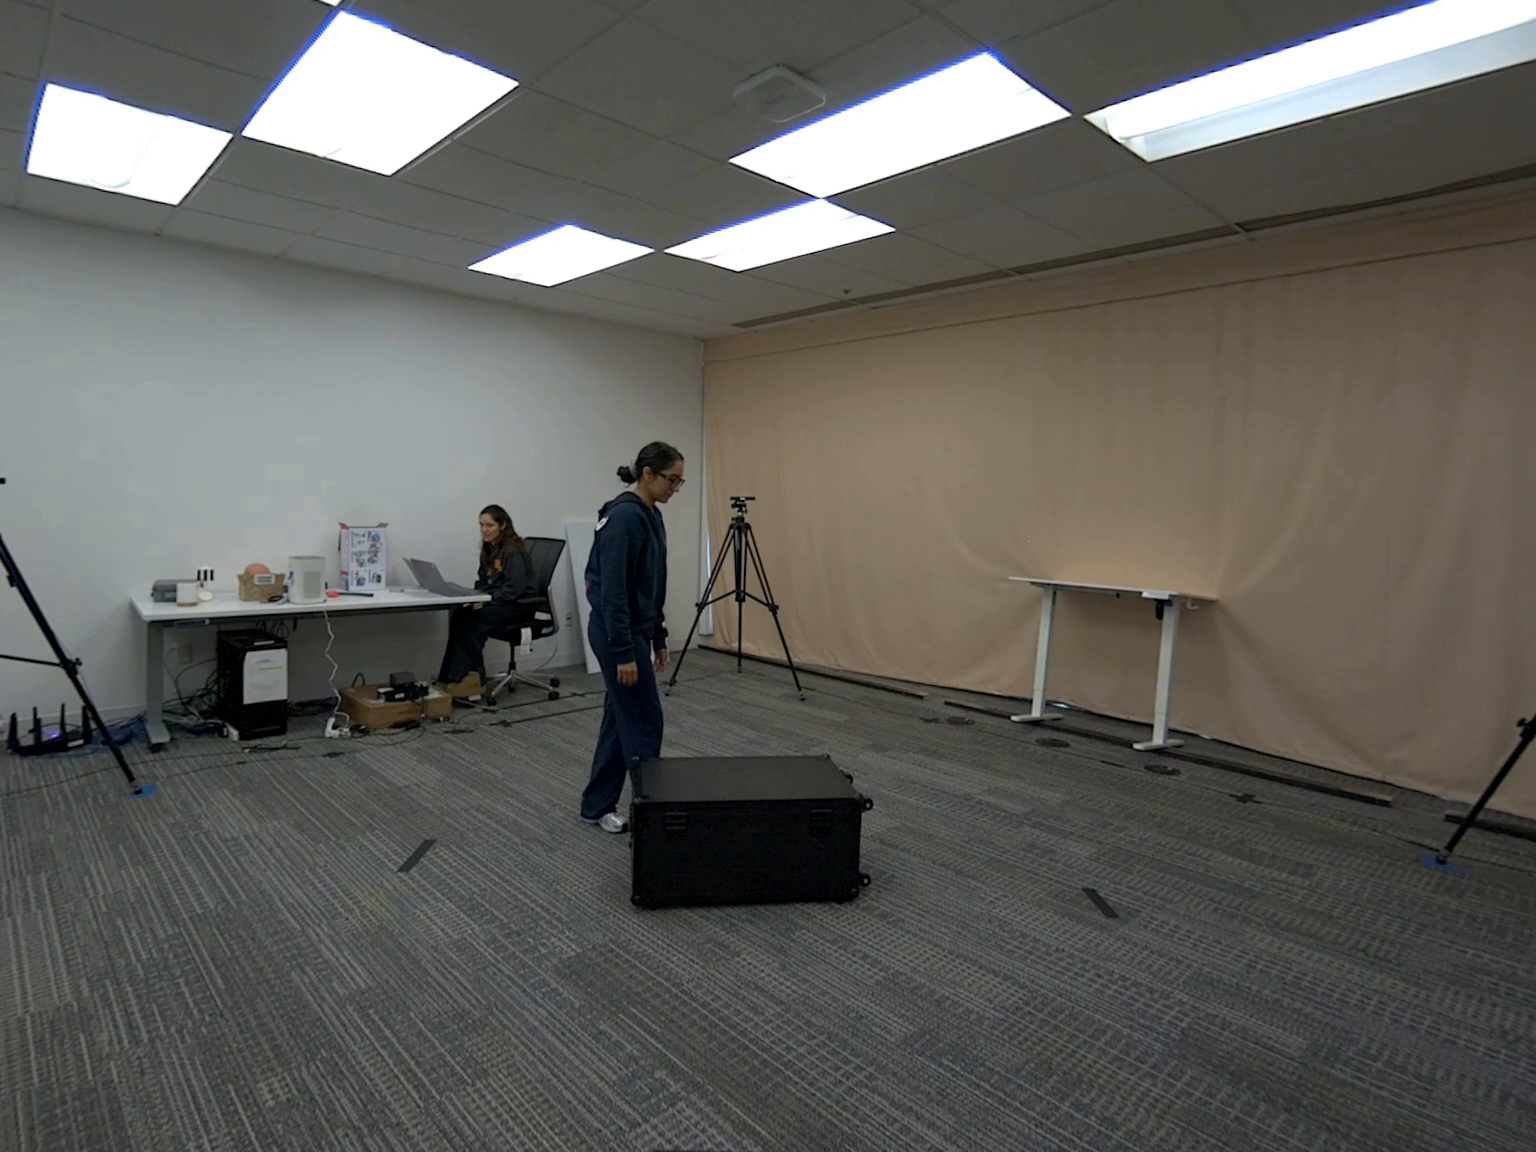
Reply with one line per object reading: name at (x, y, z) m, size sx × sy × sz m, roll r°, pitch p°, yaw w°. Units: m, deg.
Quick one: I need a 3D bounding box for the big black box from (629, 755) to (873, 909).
big black box at (-0.074, 0.918, 3.086) m, size 0.855 × 0.395 × 0.526 m, roll 0°, pitch 4°, yaw -9°
